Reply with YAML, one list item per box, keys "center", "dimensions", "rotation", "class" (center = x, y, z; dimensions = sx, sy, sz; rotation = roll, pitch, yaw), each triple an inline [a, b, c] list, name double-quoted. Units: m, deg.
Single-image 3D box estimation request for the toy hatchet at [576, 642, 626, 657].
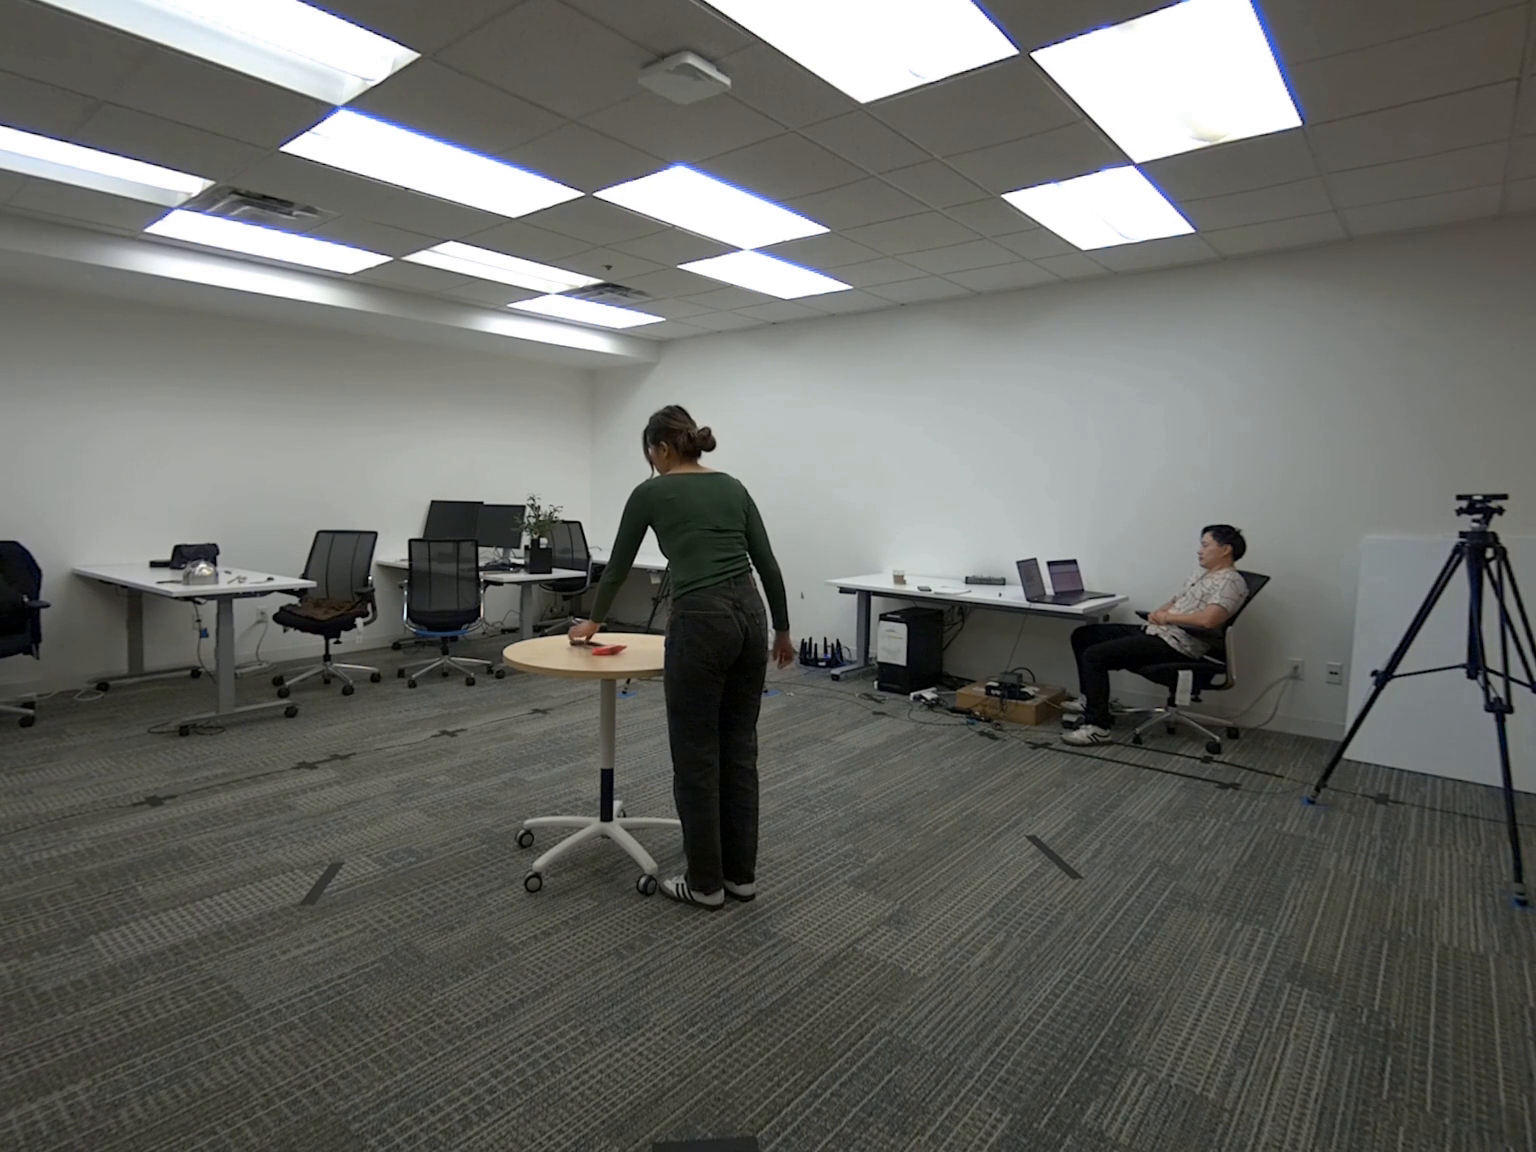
- center: [-0.670, 0.264, 3.151]
  dimensions: [0.278, 0.029, 0.128]
  rotation: [2, 9, 34]
  class: "toy hatchet"
